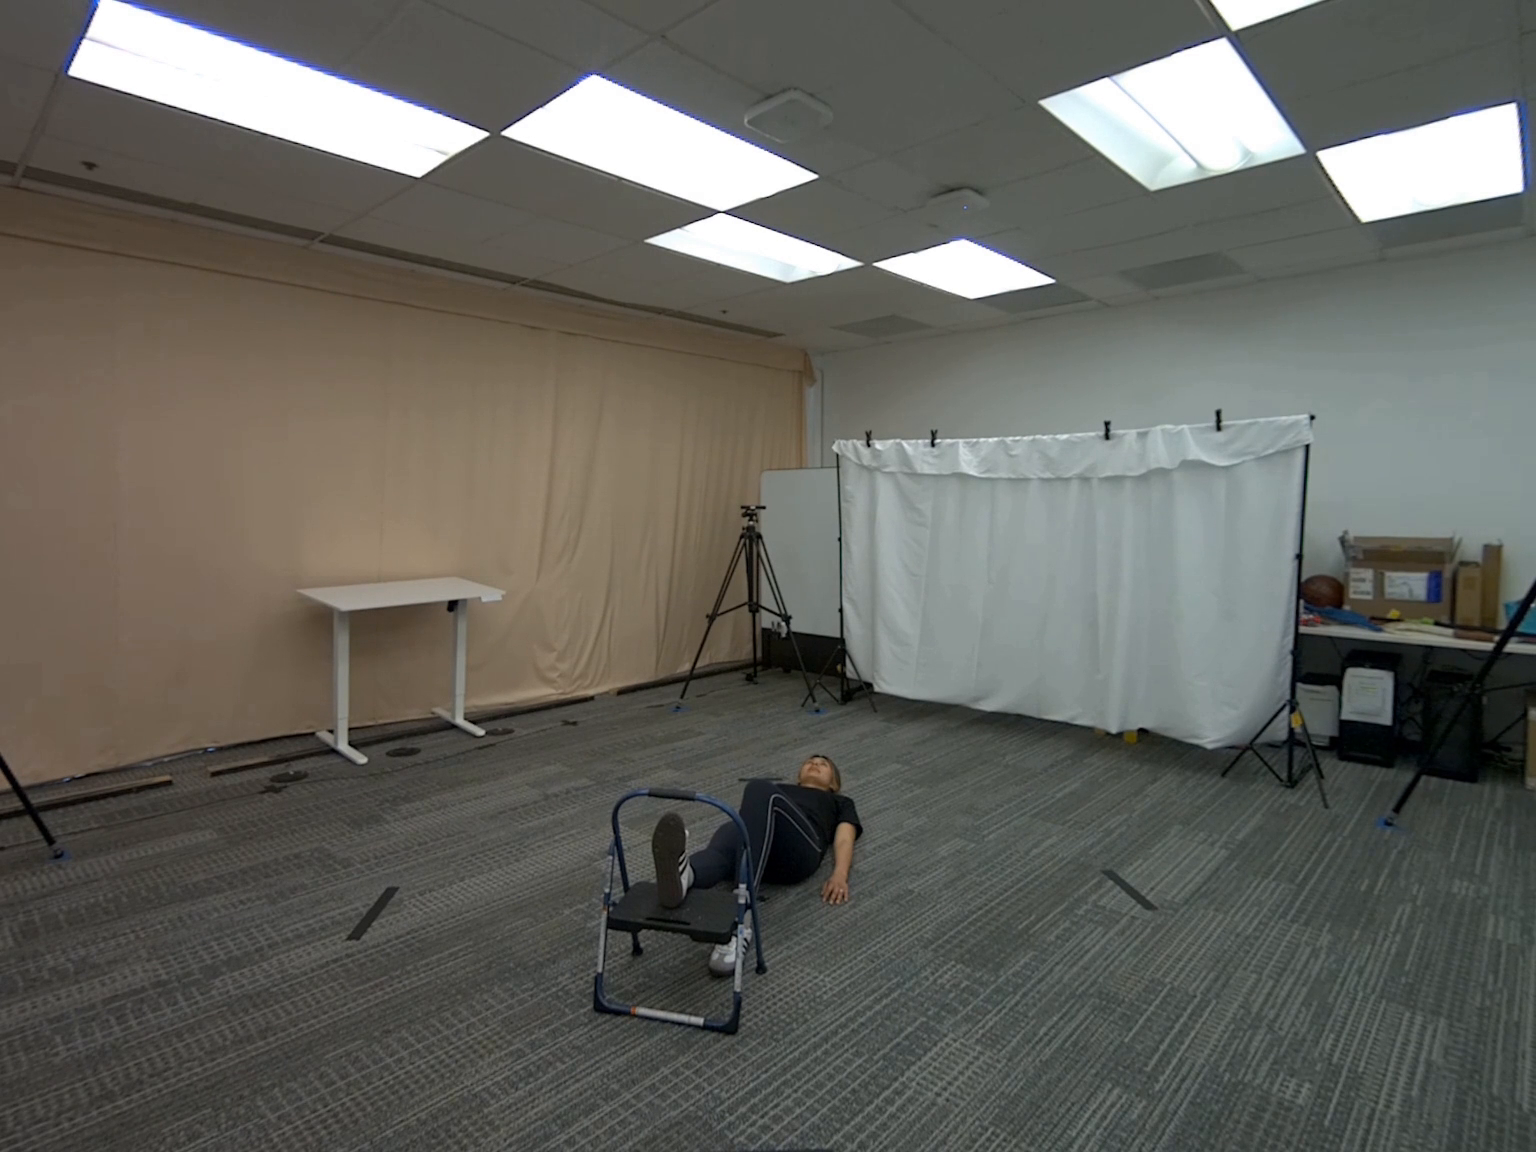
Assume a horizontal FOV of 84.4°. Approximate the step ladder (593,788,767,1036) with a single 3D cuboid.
[{"bbox_3d":[-0.252,0.892,2.410,0.438,0.605,0.344,1,4,14],"label":"step ladder"}]
